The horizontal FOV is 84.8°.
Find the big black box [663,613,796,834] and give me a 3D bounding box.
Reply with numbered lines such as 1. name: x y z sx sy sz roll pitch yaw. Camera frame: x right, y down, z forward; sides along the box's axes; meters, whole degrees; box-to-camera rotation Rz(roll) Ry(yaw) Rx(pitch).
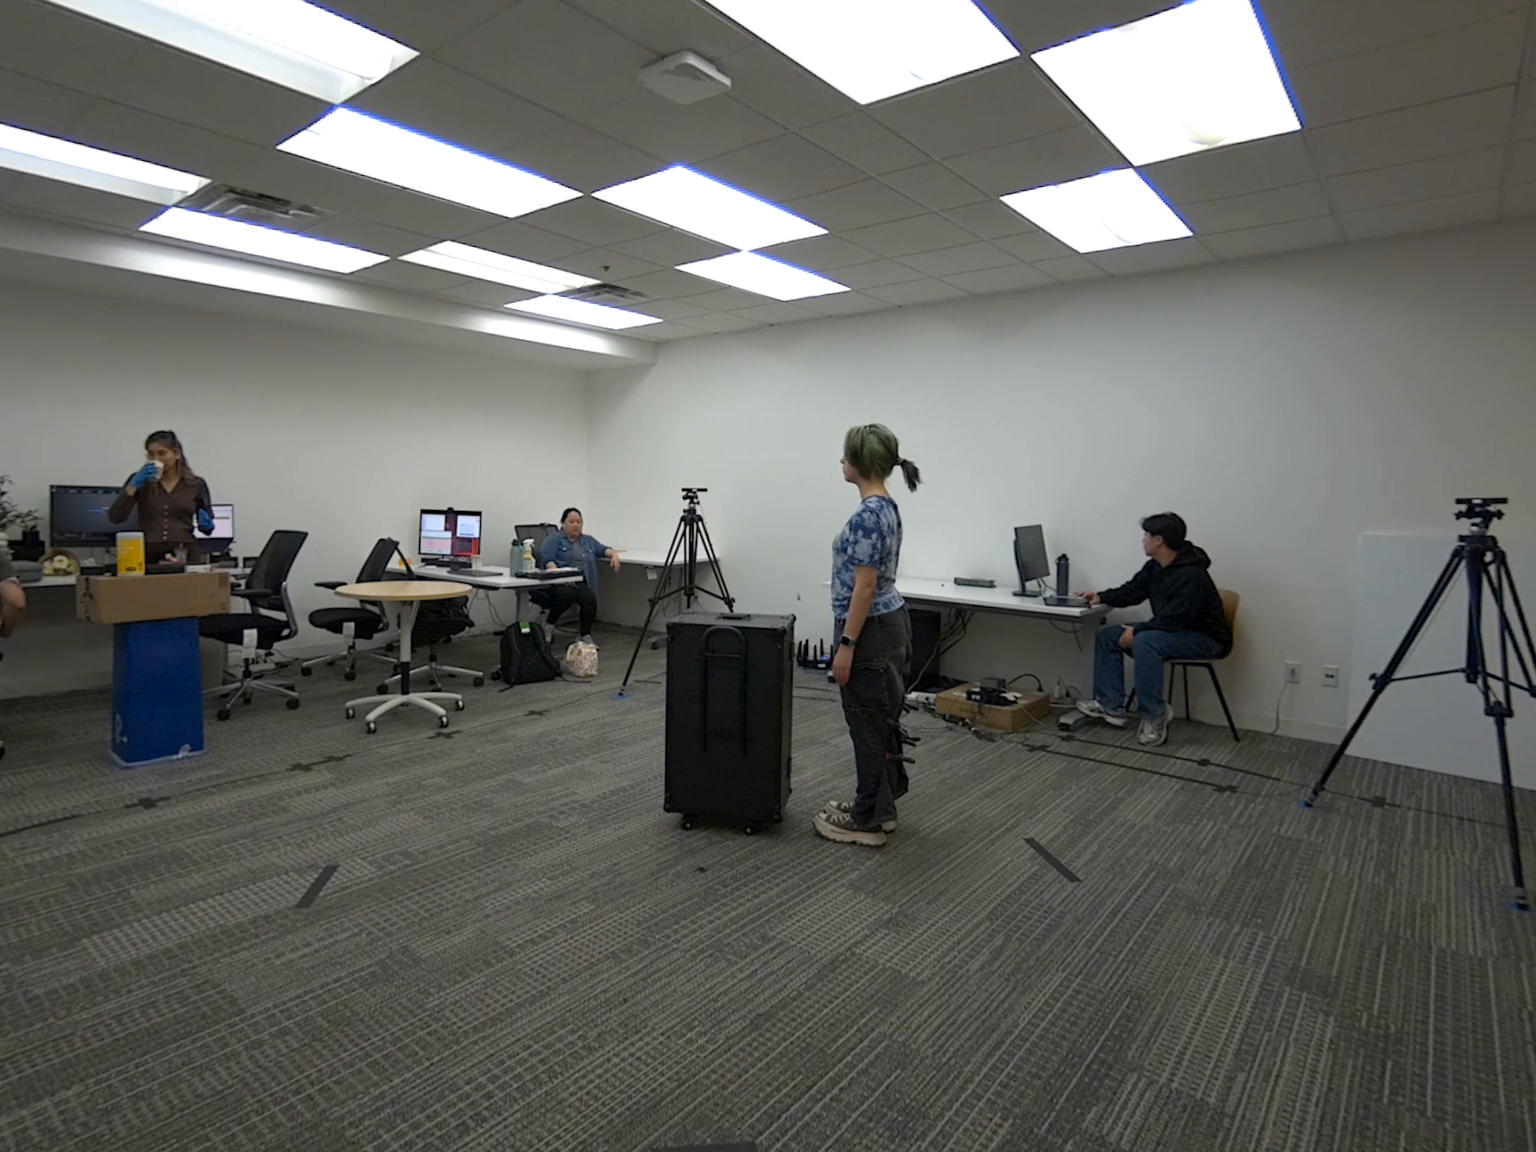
1. big black box: -0.162 0.604 3.570 0.528 0.858 0.392 2 4 11
